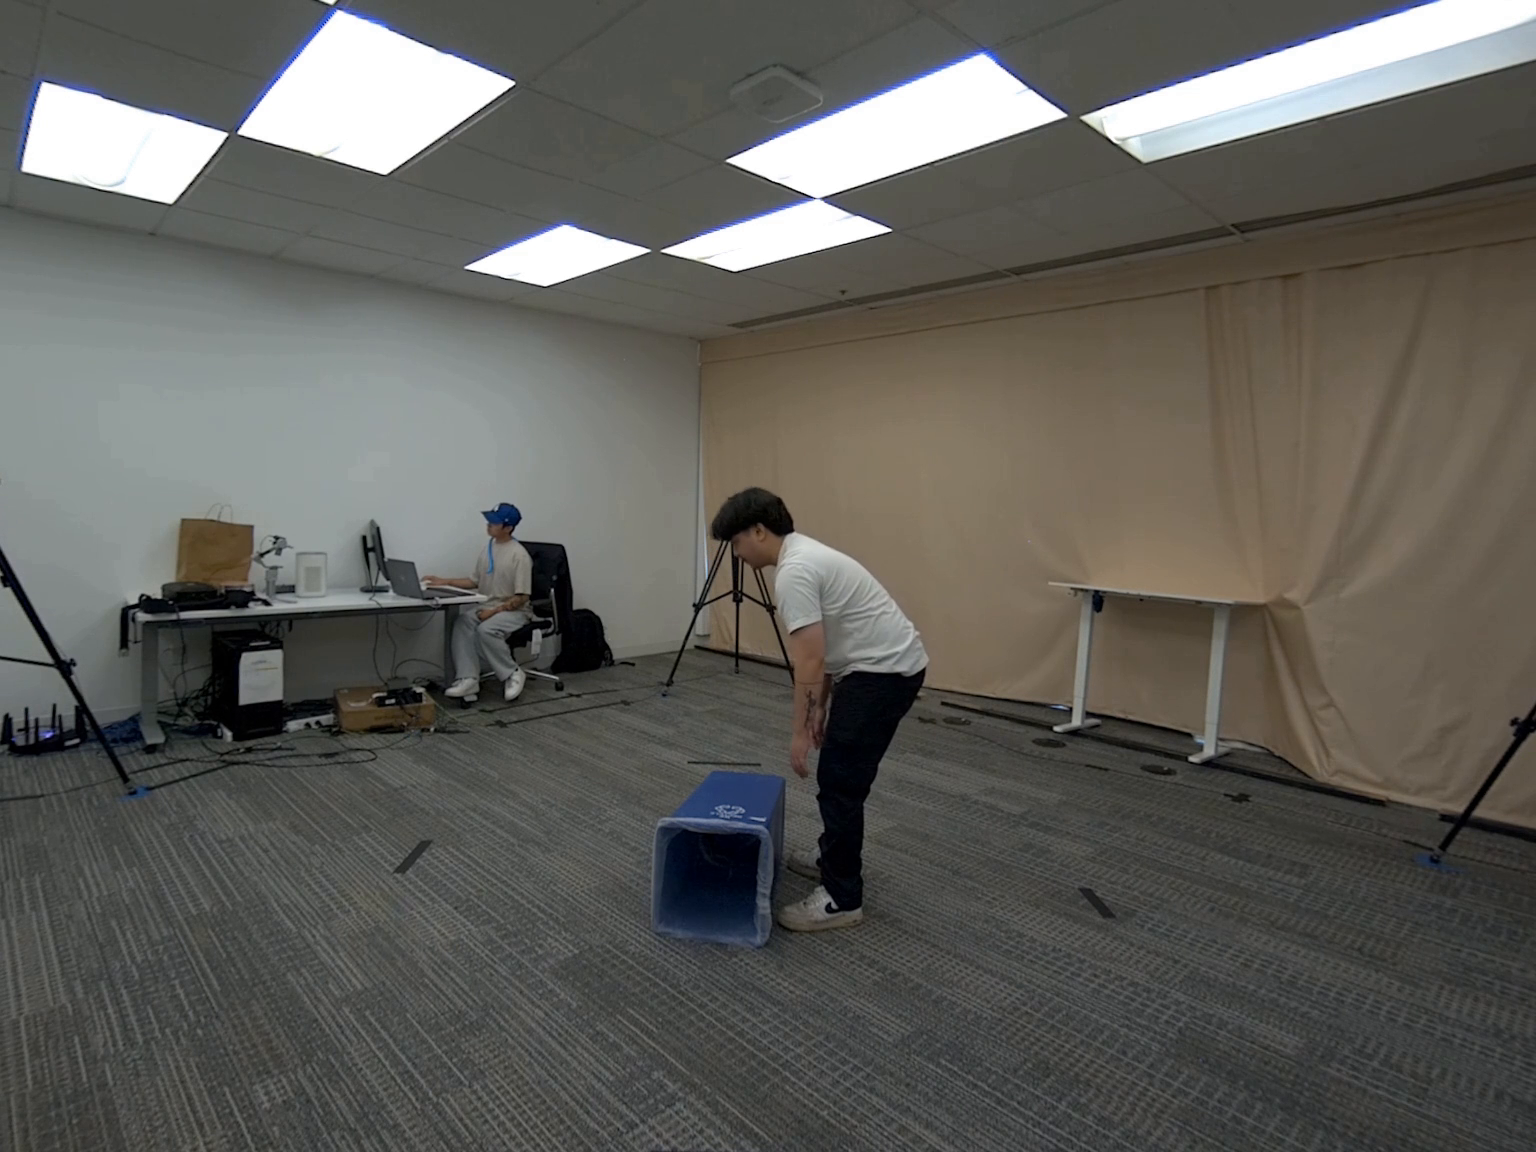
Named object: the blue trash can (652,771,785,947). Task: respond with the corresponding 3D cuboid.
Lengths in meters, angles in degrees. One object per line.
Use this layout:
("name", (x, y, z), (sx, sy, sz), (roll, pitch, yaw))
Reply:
("blue trash can", (-0.145, 0.952, 2.982), (0.376, 0.378, 0.709), (2, 2, 7))
